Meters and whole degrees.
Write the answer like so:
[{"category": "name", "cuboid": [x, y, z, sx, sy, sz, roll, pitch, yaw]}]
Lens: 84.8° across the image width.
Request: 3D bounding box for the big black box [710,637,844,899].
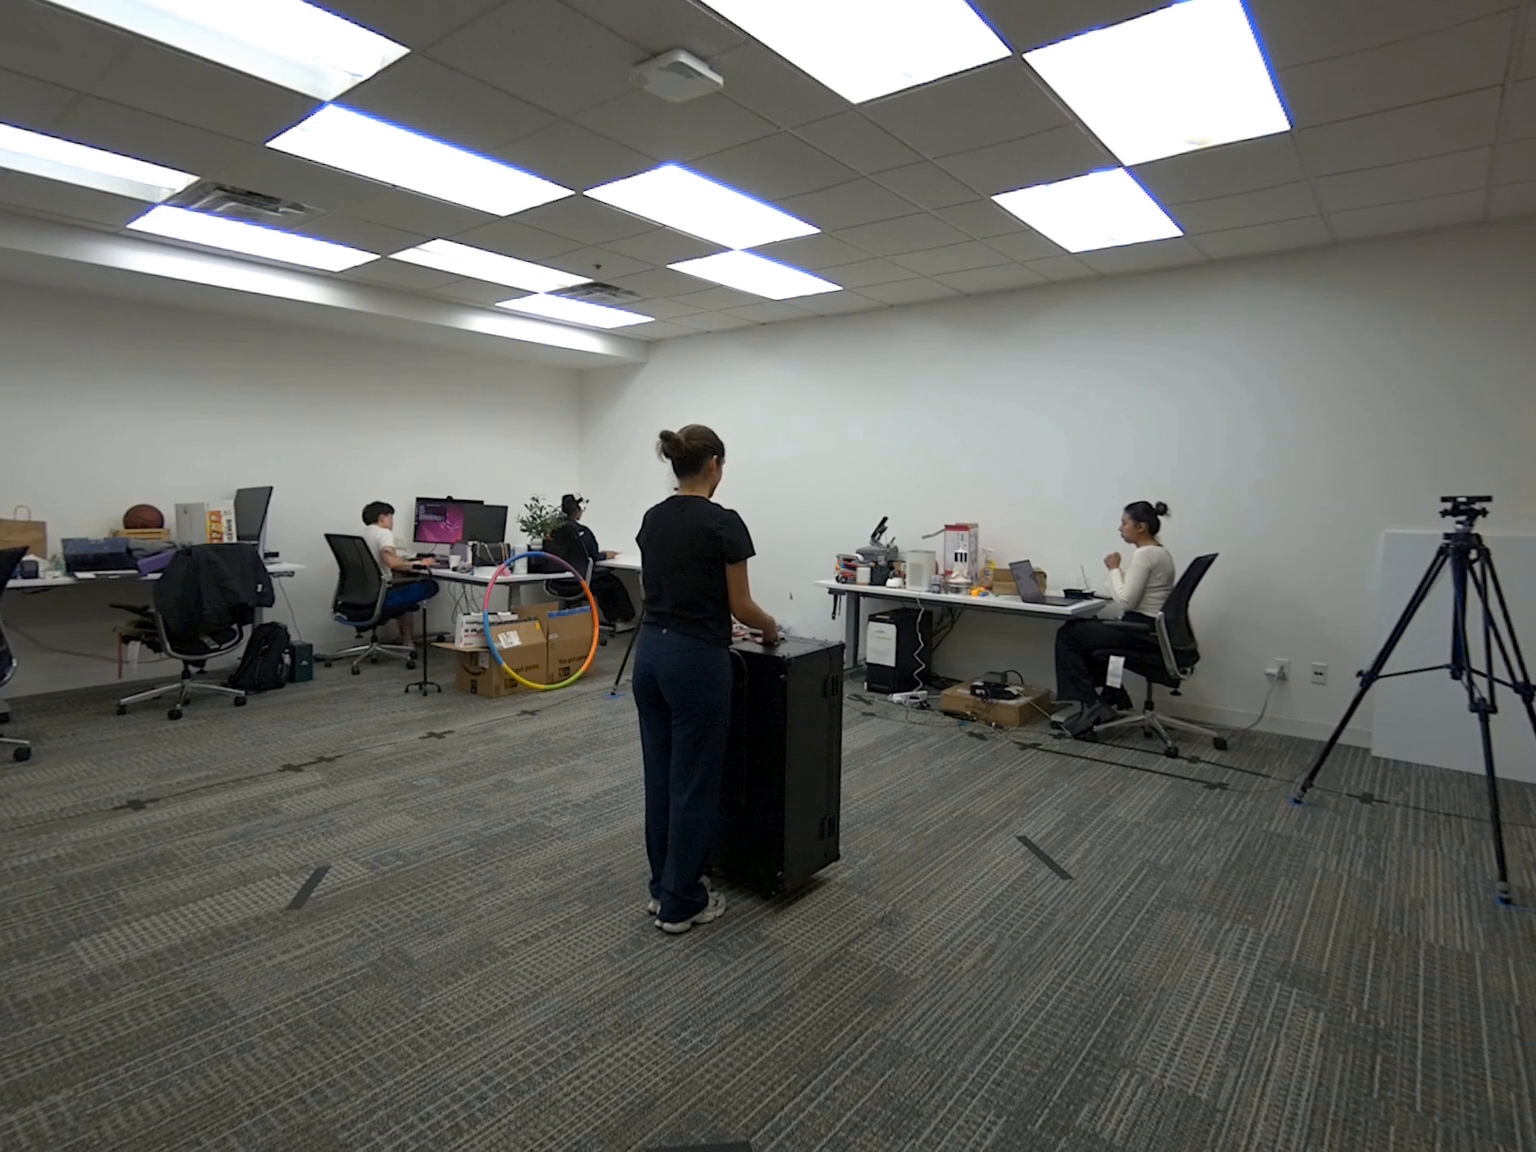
[{"category": "big black box", "cuboid": [-0.022, 0.649, 3.040, 0.538, 0.858, 0.385, 4, 5, 38]}]
